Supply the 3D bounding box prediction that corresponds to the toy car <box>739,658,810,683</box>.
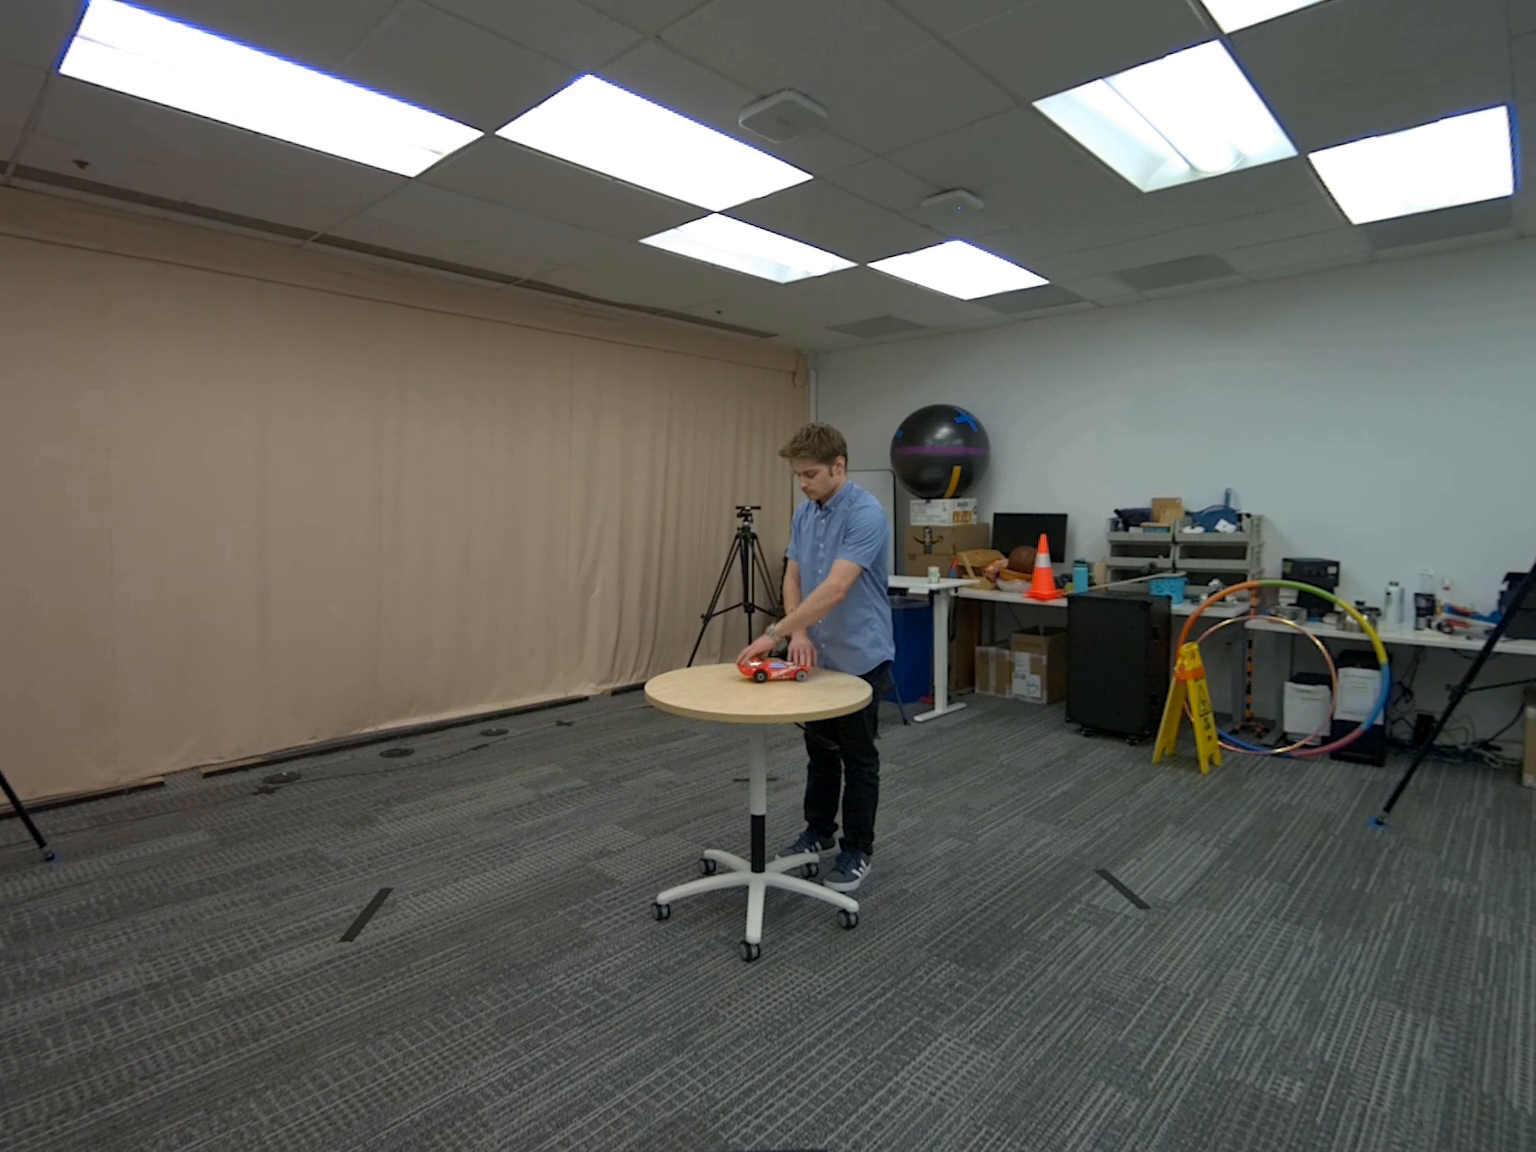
[{"bbox_3d":[0.004,0.334,2.936,0.252,0.083,0.132,12,4,-9],"label":"toy car"}]
